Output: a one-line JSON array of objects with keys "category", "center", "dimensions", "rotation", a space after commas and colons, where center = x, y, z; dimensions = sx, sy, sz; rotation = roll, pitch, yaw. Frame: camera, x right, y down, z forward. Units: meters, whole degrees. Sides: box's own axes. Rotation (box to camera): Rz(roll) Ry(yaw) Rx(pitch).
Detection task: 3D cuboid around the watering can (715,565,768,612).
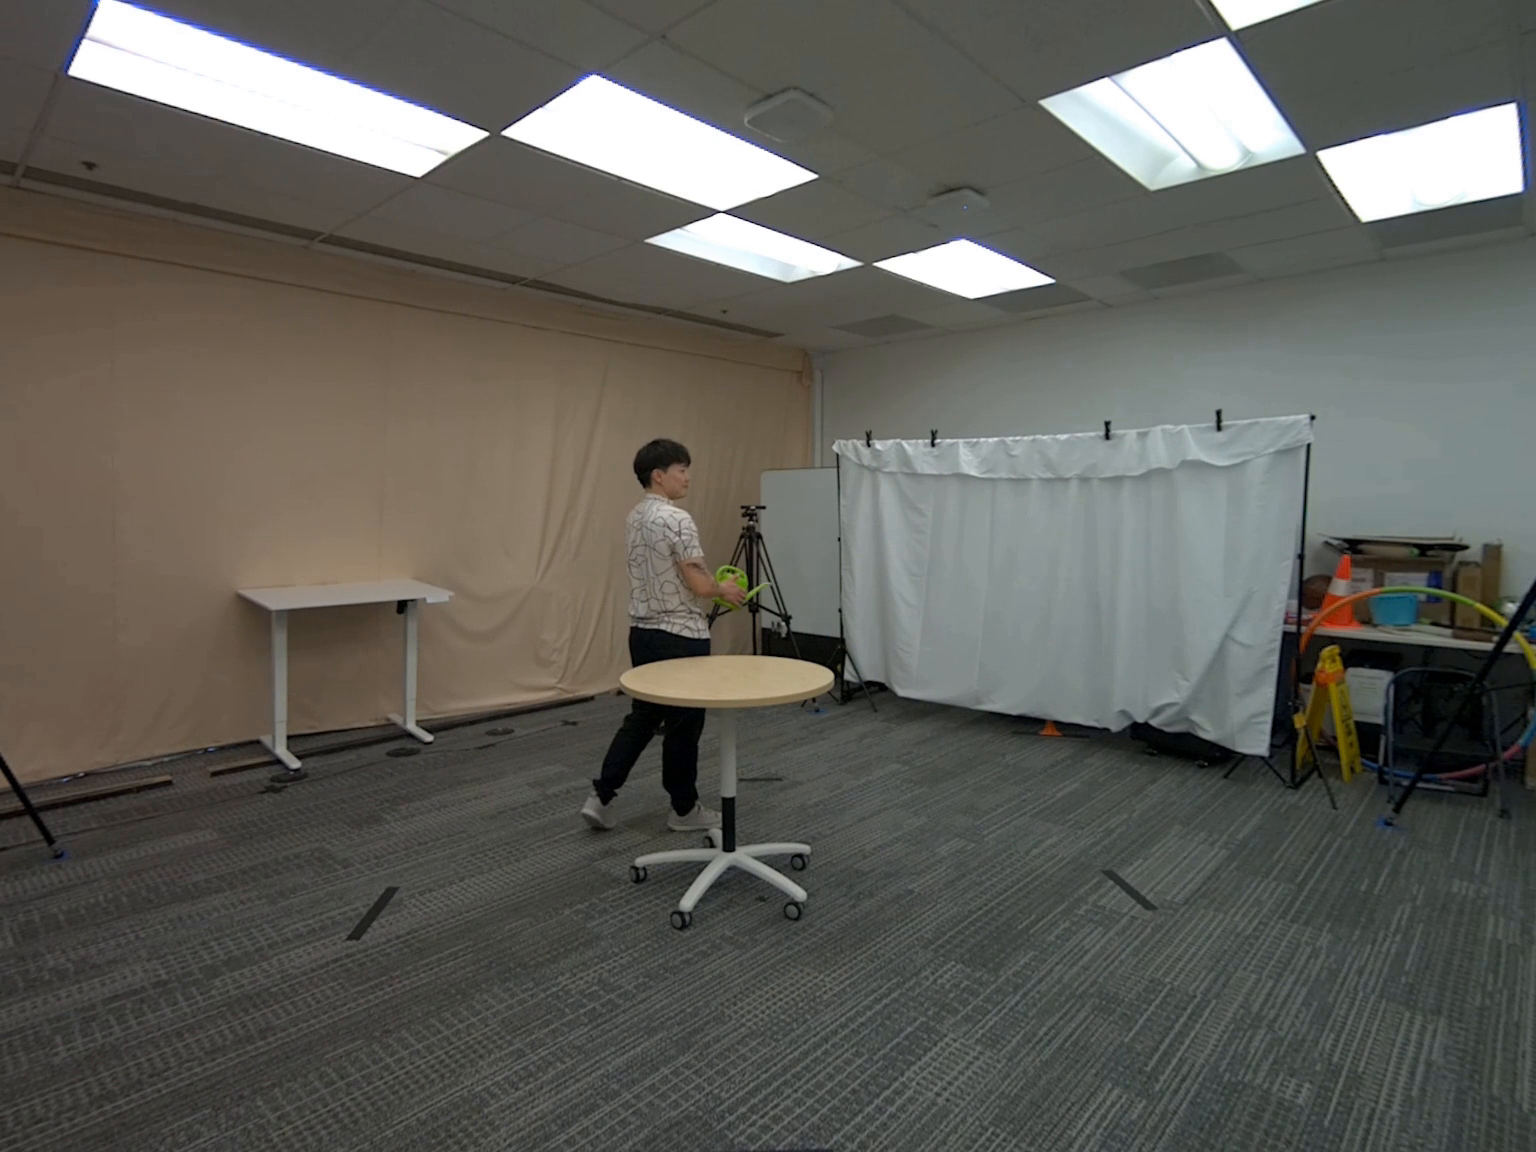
[{"category": "watering can", "center": [-0.129, 0.074, 3.722], "dimensions": [0.274, 0.177, 0.099], "rotation": [22, -8, -11]}]
